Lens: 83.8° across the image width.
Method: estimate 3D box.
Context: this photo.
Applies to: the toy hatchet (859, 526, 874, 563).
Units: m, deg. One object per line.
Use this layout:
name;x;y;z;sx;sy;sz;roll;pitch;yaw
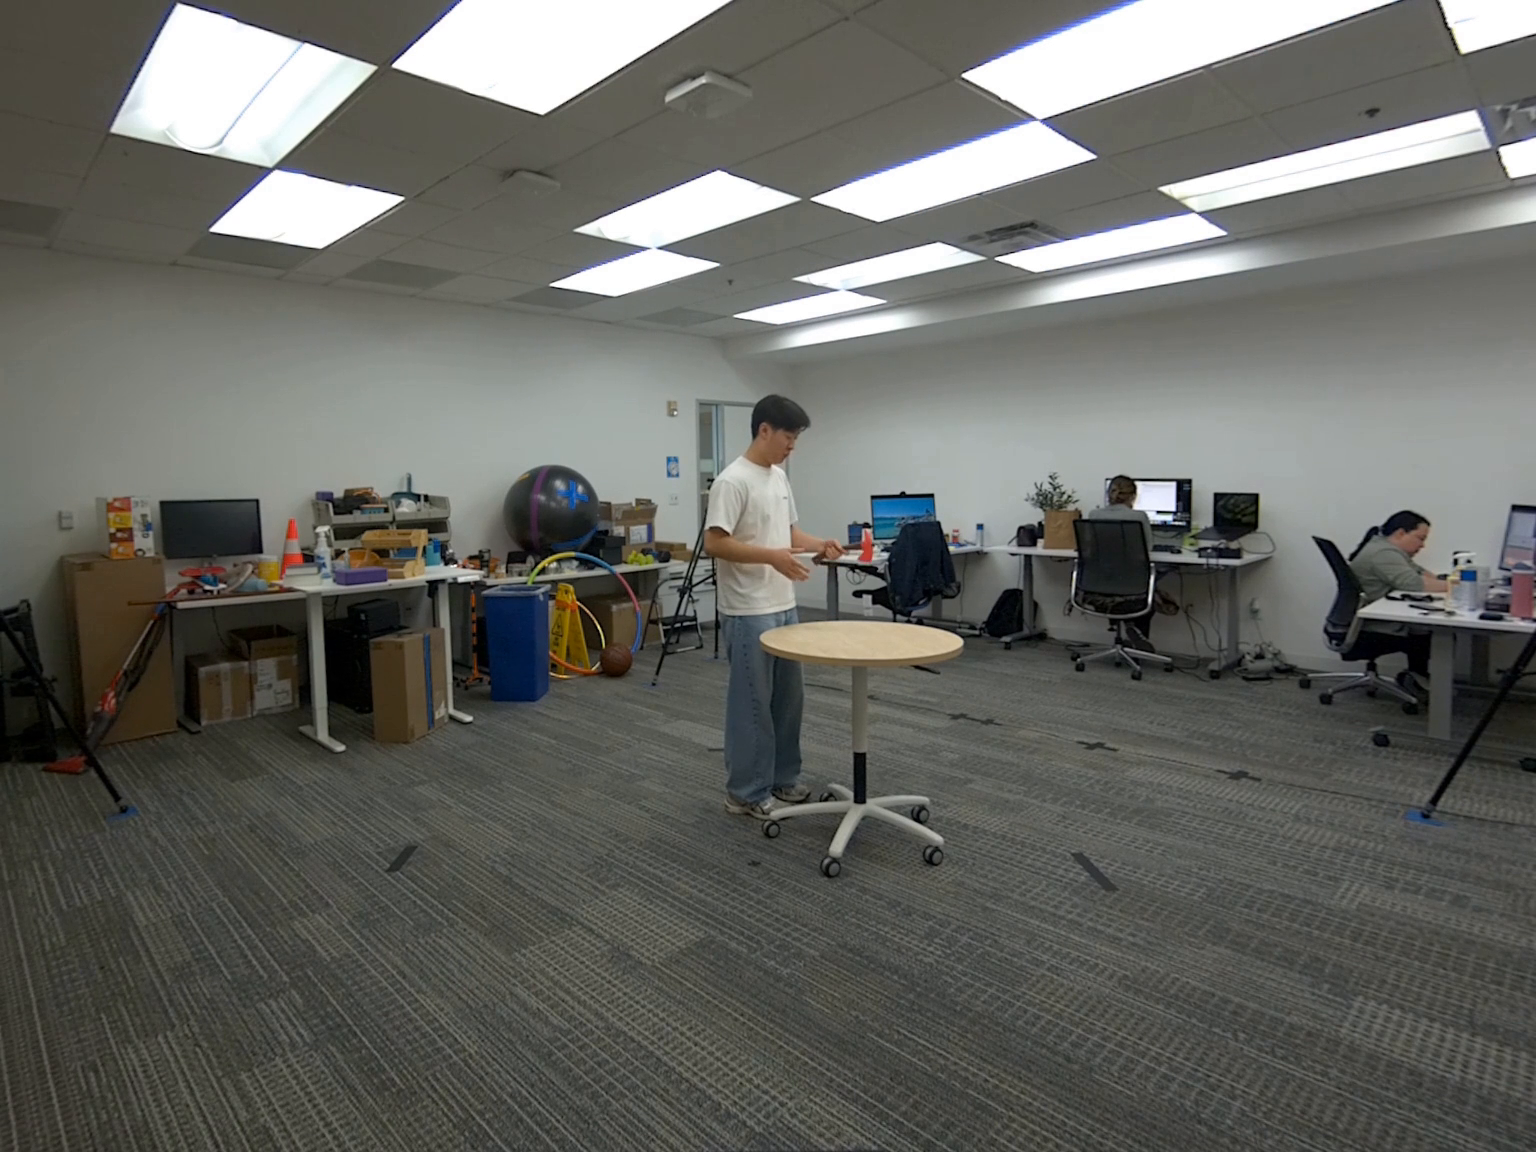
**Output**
toy hatchet;0.303;-0.078;3.544;0.273;0.131;0.029;-22;-3;18
